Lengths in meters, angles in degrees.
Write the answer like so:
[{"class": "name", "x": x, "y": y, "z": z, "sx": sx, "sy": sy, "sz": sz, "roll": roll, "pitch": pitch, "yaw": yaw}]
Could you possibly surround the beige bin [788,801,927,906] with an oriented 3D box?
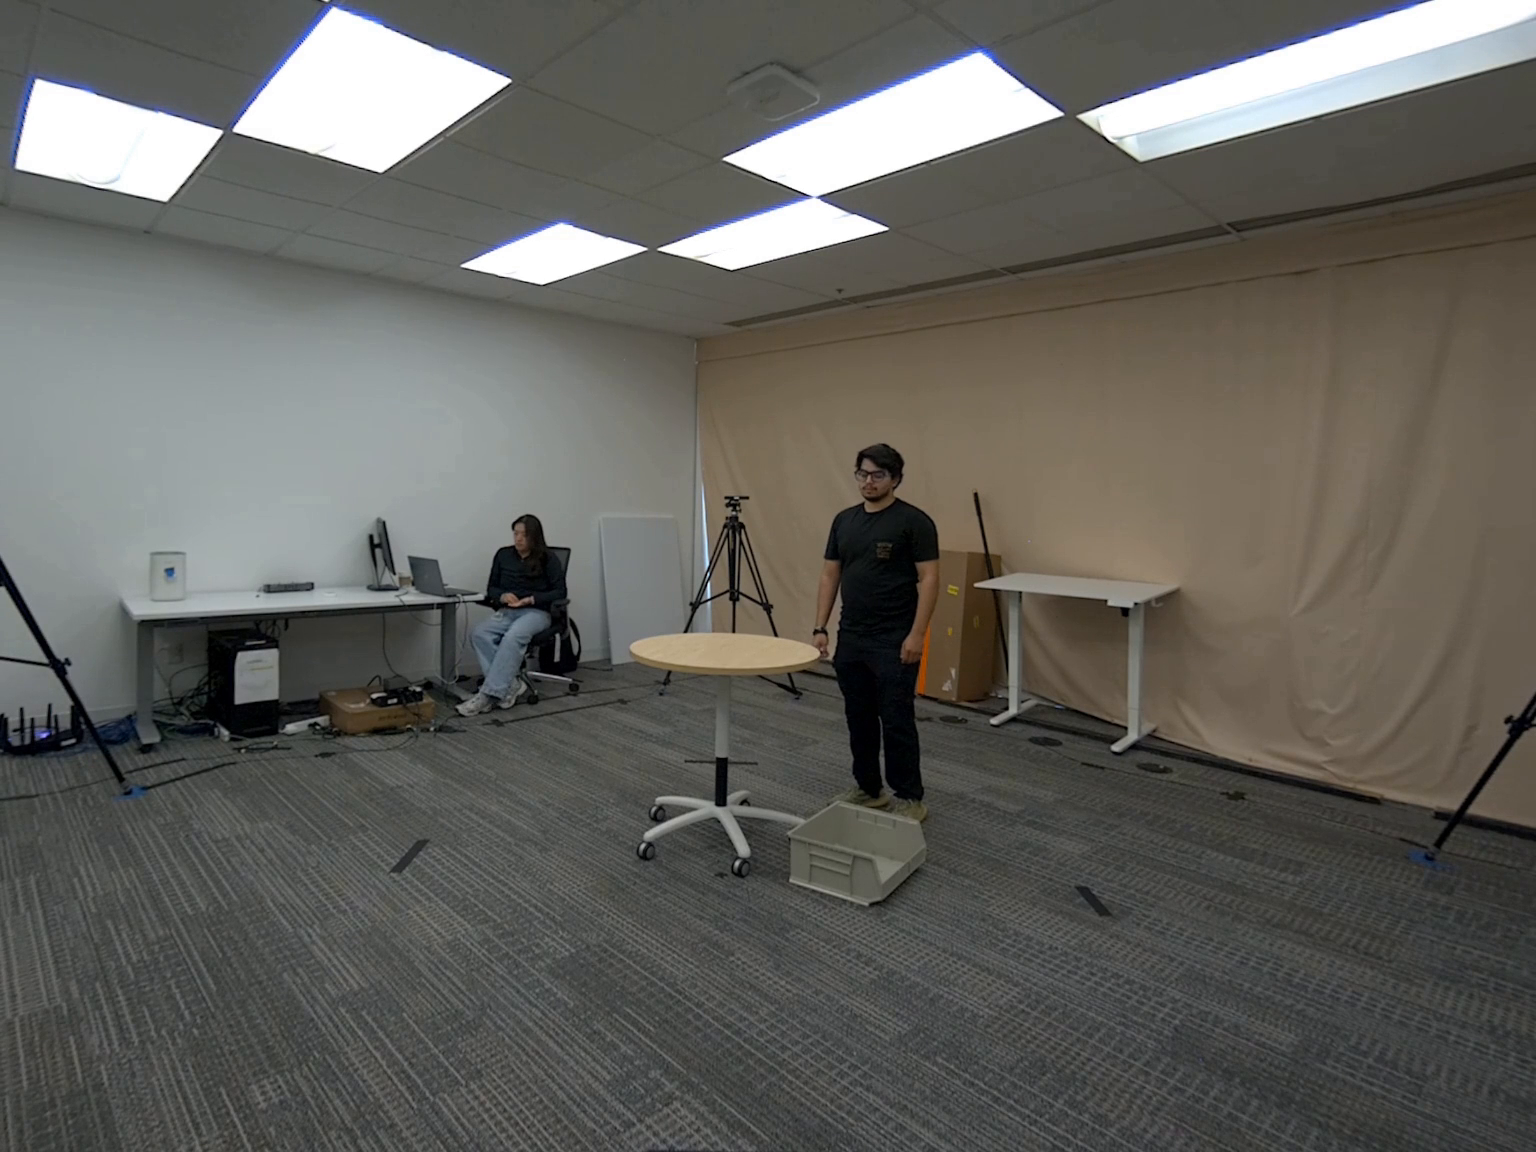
[{"class": "beige bin", "x": 0.327, "y": 1.026, "z": 3.128, "sx": 0.386, "sy": 0.188, "sz": 0.414, "roll": 4, "pitch": 5, "yaw": 32}]
